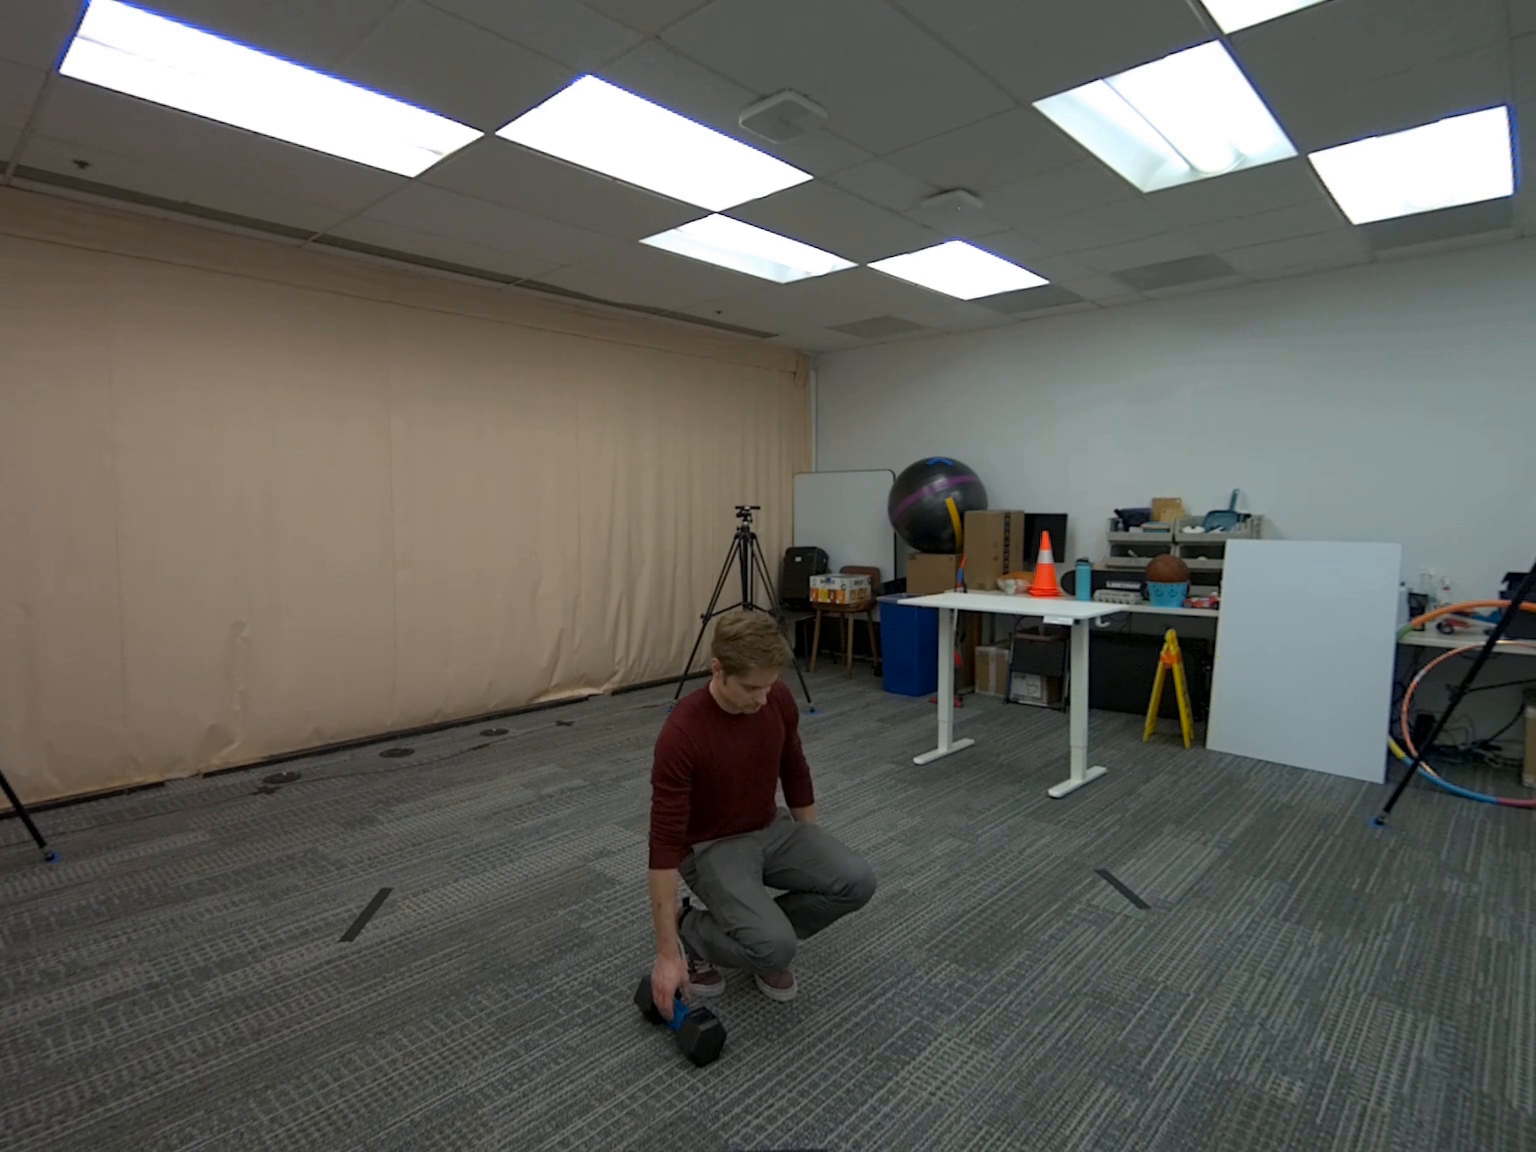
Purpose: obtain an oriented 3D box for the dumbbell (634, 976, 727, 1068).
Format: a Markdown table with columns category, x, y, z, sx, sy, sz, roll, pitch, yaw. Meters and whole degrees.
| category | x | y | z | sx | sy | sz | roll | pitch | yaw |
| --- | --- | --- | --- | --- | --- | --- | --- | --- | --- |
| dumbbell | -0.235 | 1.153 | 2.210 | 0.105 | 0.123 | 0.303 | 35 | -18 | -35 |
